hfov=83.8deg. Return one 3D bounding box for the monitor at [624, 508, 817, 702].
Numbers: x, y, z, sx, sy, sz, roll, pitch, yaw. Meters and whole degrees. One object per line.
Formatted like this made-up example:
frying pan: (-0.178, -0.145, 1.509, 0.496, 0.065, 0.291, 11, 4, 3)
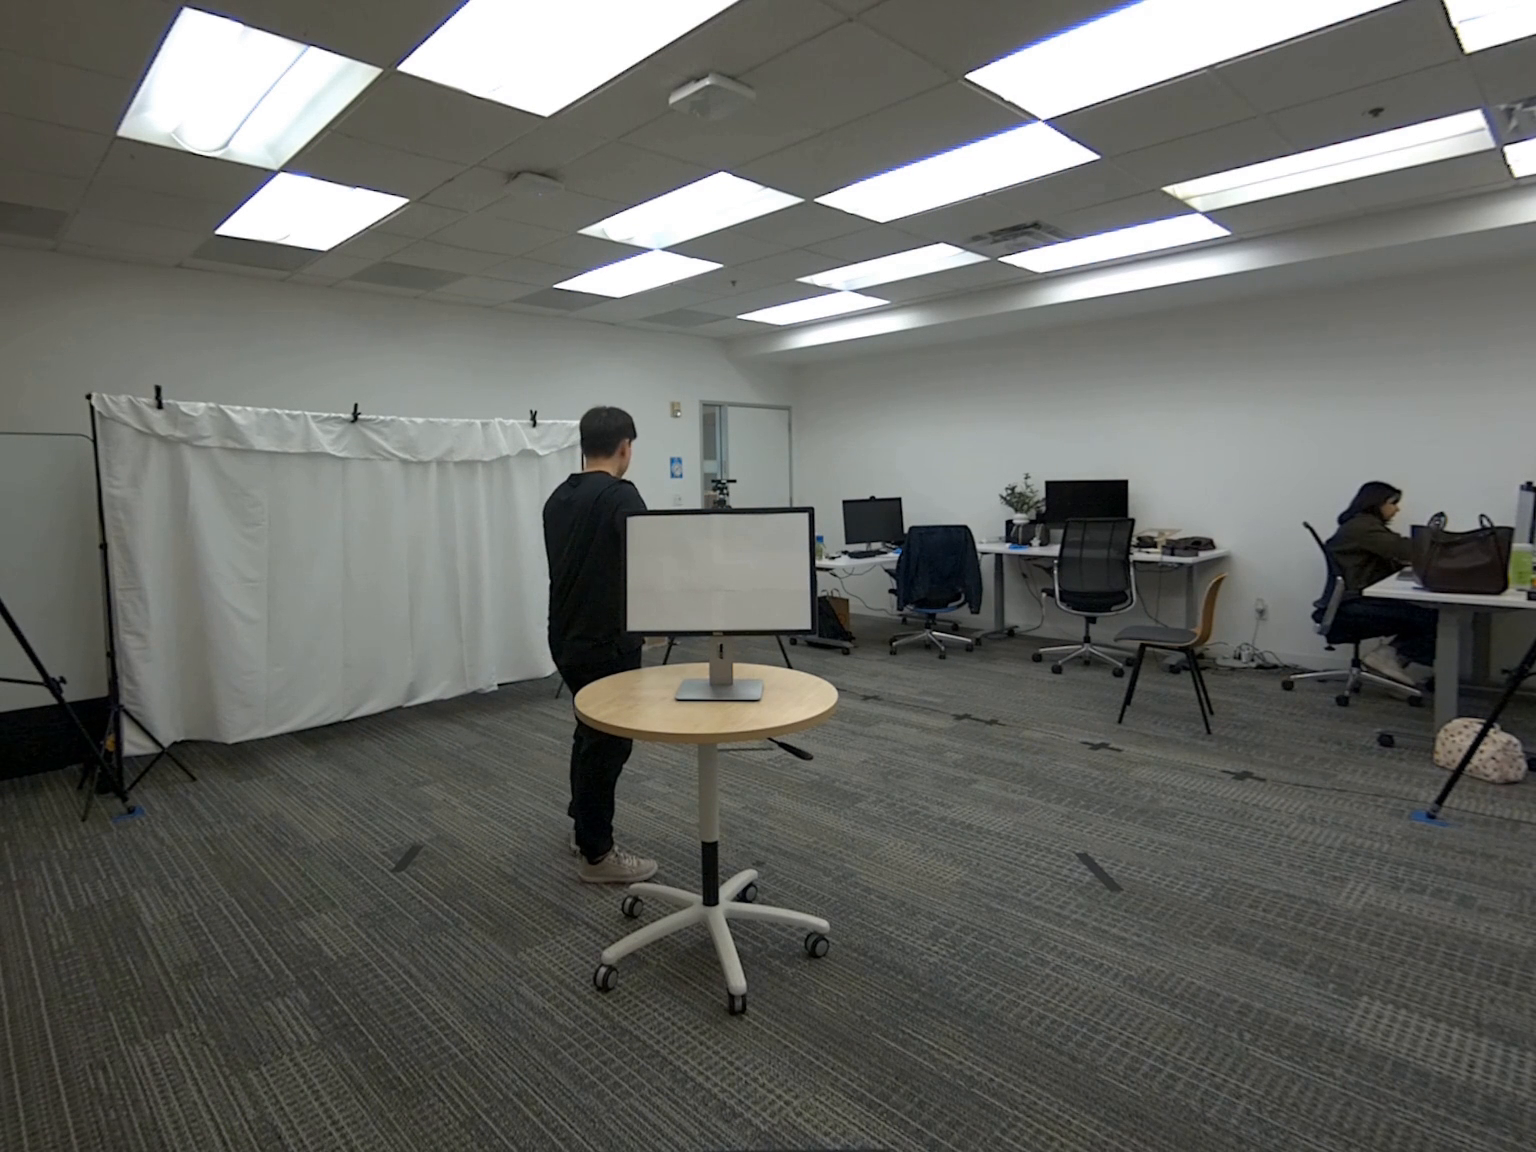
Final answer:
monitor: (-0.139, 0.078, 2.487, 0.540, 0.520, 0.187, -1, 6, 2)
